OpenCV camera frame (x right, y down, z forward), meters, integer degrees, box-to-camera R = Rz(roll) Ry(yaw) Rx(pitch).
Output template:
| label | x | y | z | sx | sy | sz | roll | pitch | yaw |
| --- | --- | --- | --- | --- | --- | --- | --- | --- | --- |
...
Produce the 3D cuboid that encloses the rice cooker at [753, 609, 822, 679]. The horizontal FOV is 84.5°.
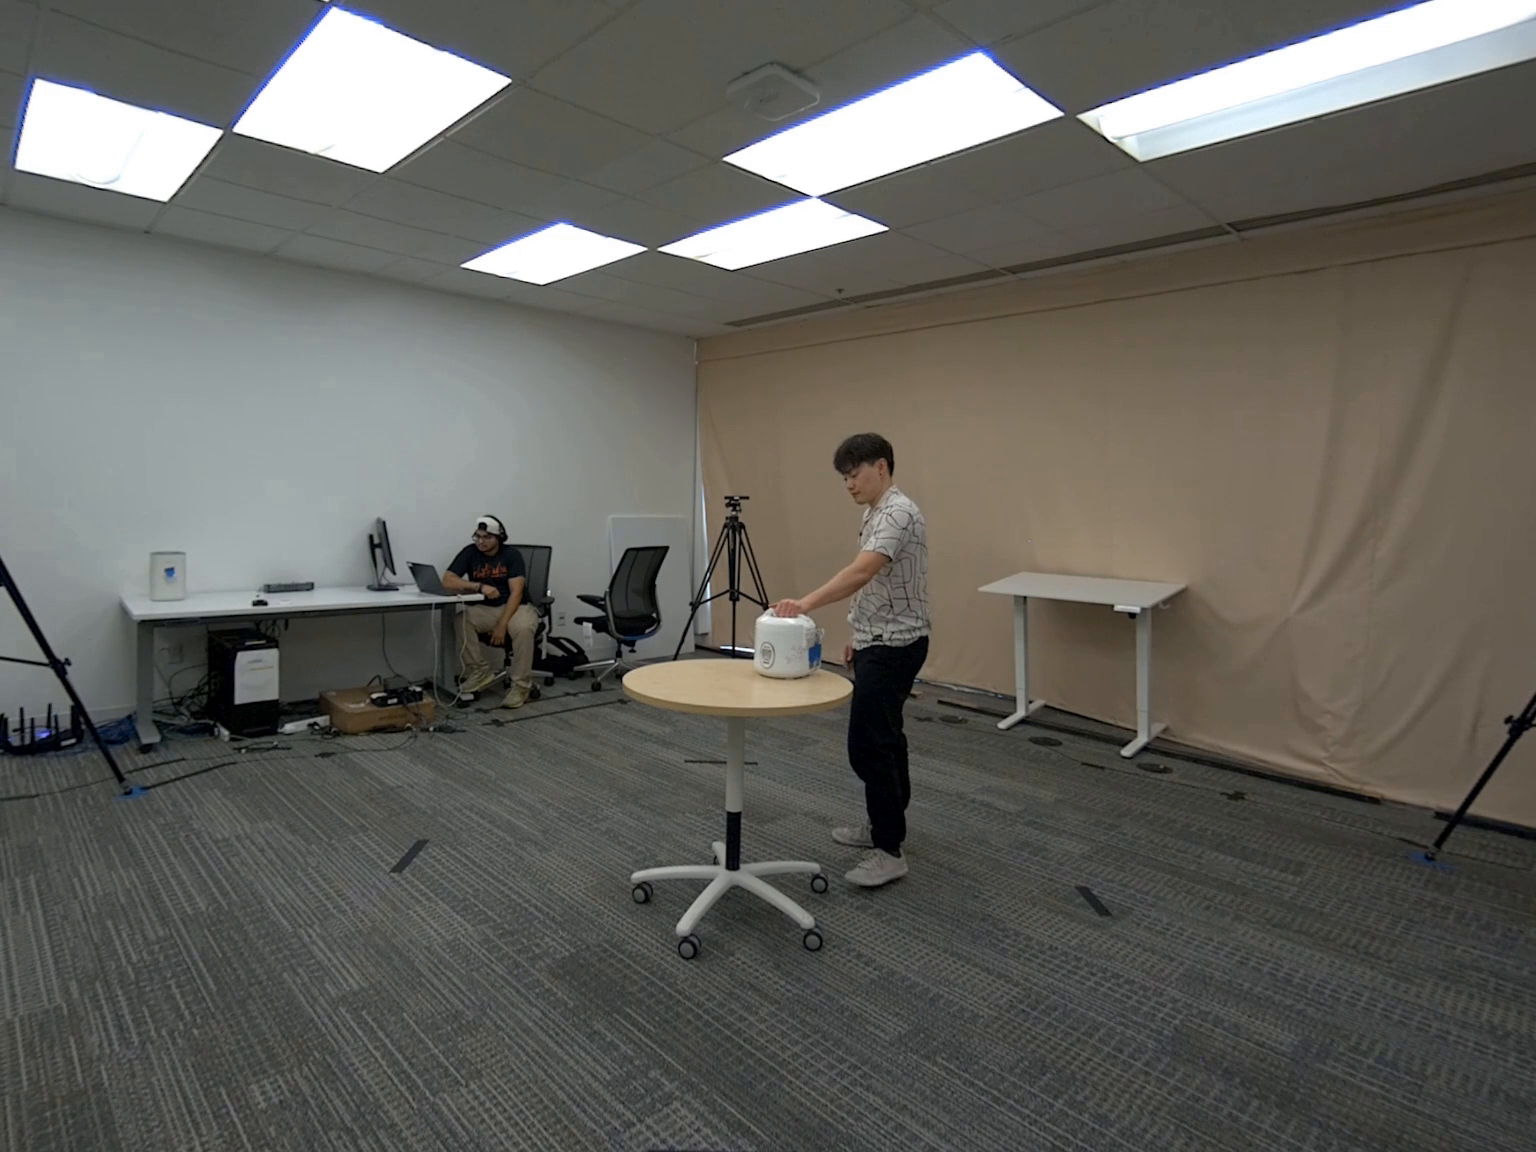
| label | x | y | z | sx | sy | sz | roll | pitch | yaw |
| --- | --- | --- | --- | --- | --- | --- | --- | --- | --- |
| rice cooker | 0.055 | 0.228 | 2.925 | 0.226 | 0.232 | 0.212 | 5 | 3 | 36 |
